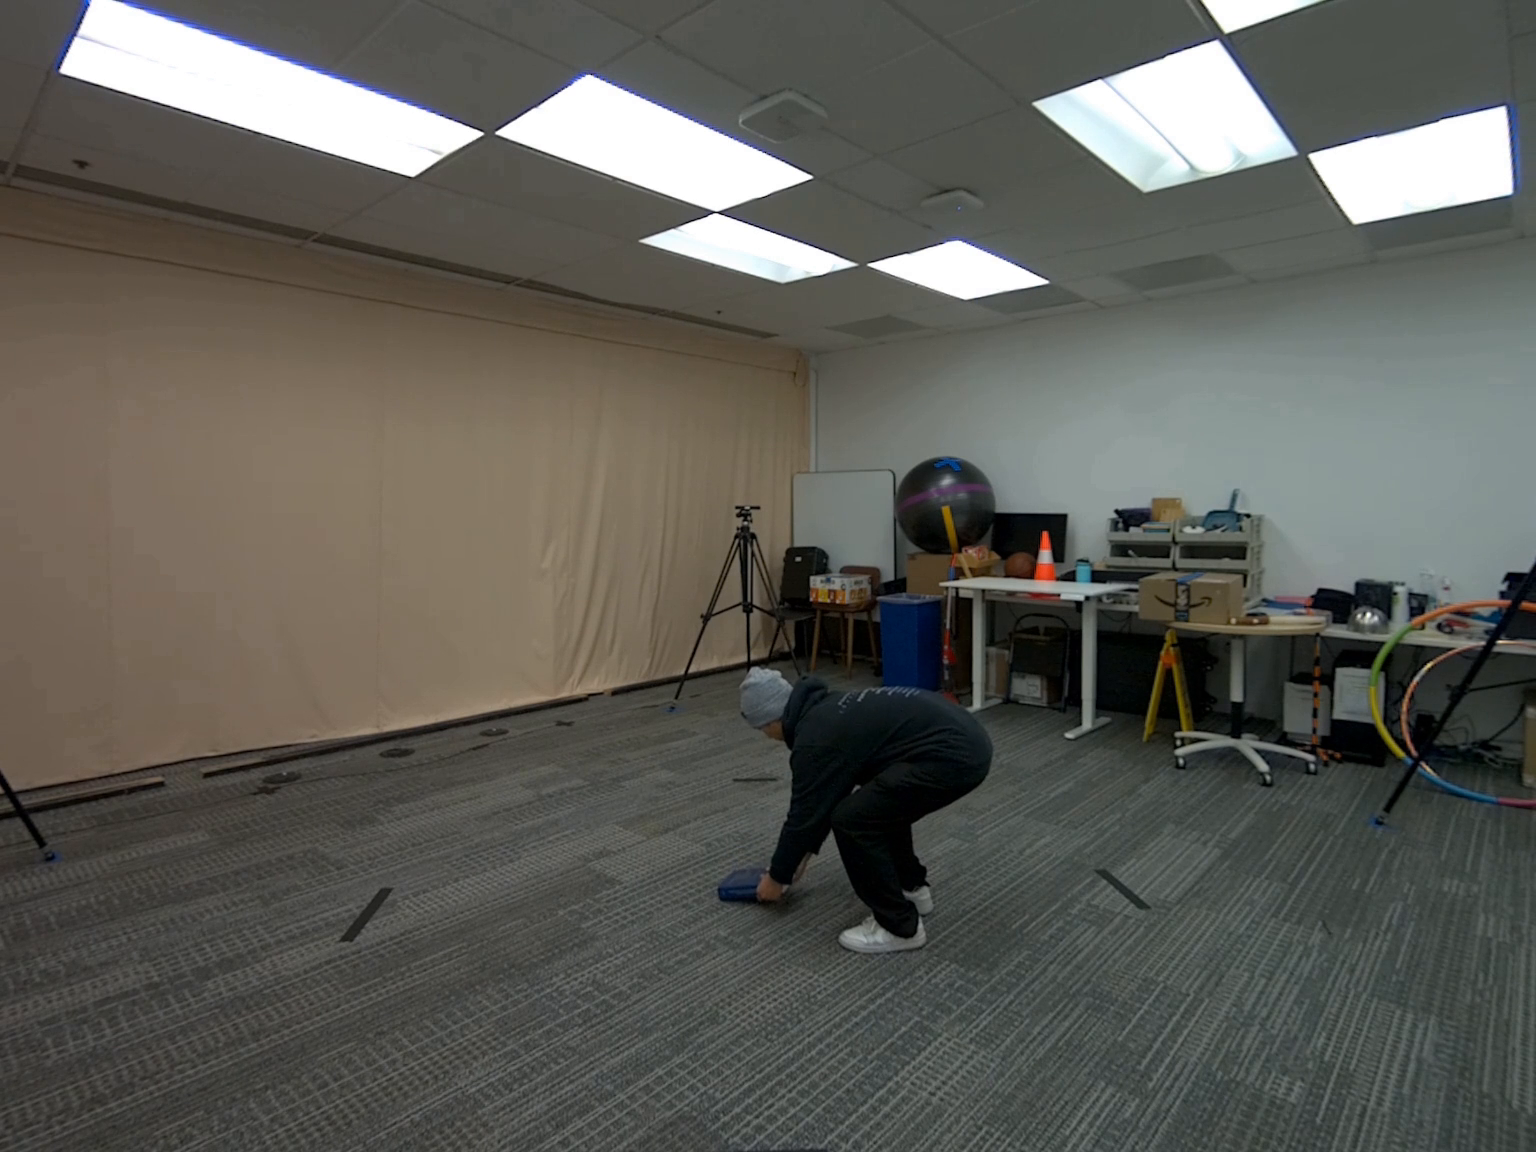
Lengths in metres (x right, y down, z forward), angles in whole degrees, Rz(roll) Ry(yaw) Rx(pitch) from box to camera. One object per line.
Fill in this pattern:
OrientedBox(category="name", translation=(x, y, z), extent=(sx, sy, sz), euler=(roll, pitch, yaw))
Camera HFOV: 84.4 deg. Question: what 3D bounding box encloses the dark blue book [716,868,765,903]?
OrientedBox(category="dark blue book", translation=(-0.036, 1.096, 3.008), extent=(0.250, 0.045, 0.160), euler=(-10, -1, 20))
